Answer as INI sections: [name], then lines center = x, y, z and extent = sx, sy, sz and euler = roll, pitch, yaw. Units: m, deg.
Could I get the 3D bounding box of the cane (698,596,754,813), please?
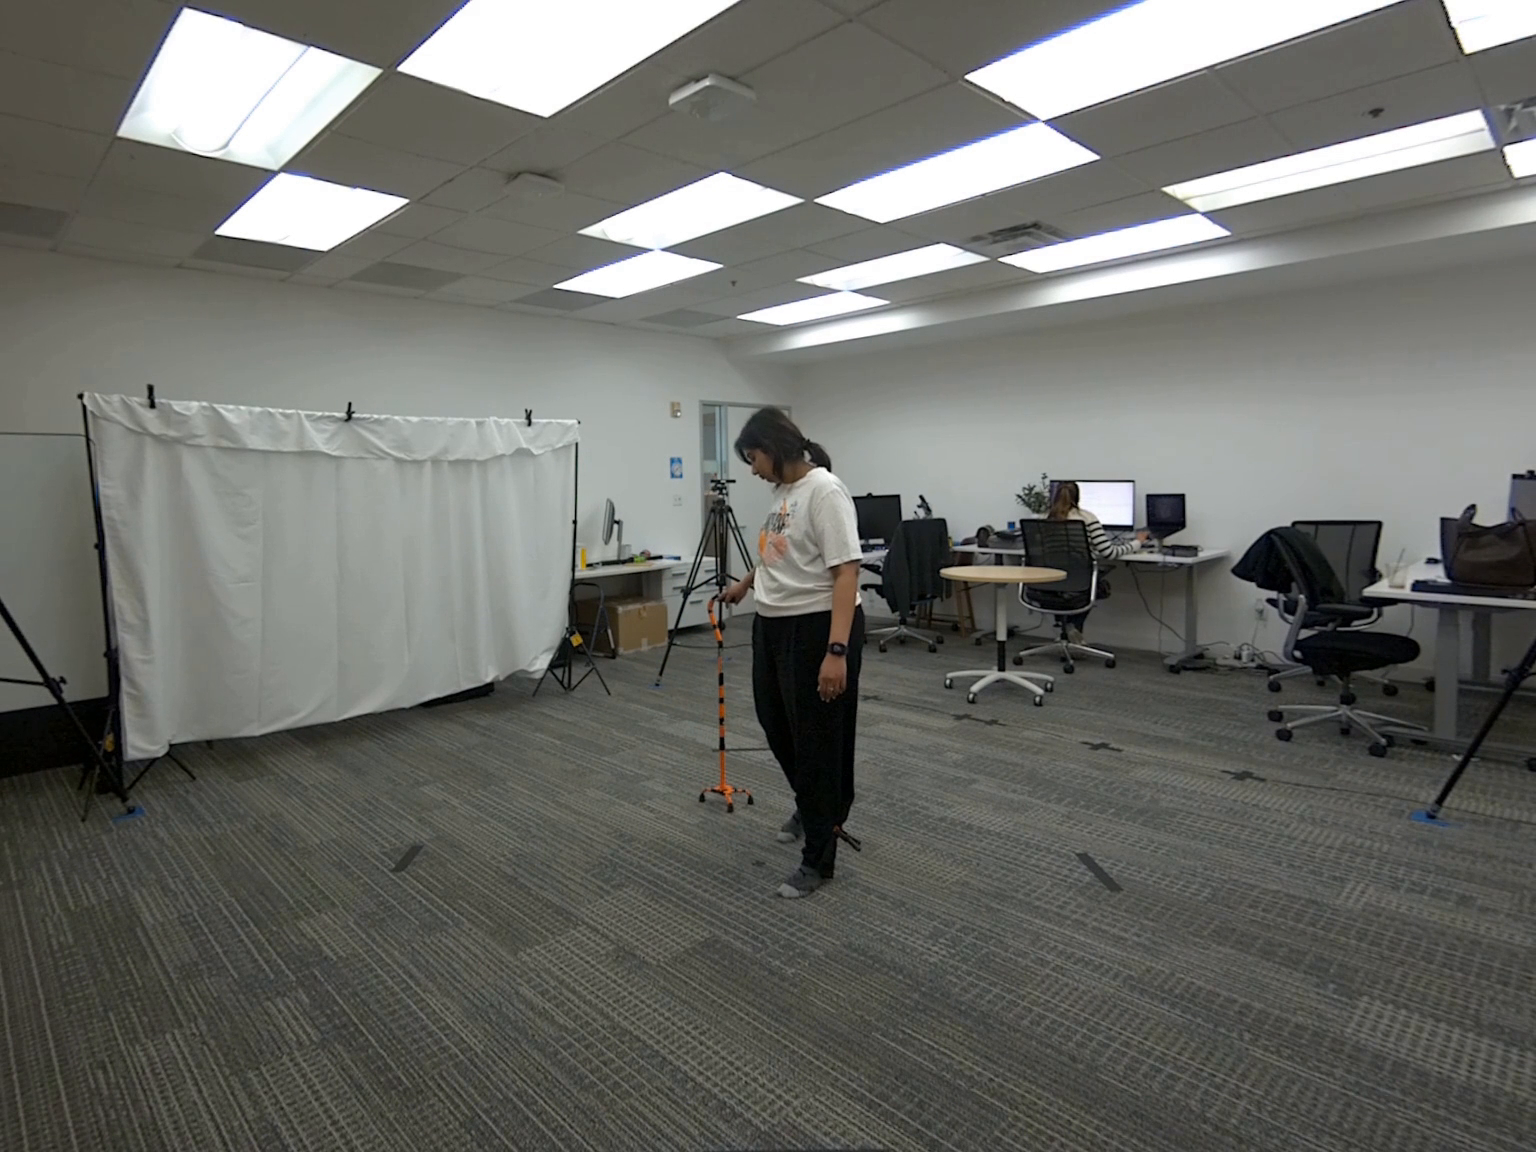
[cane]
center = -0.191, 0.531, 3.685
extent = 0.213, 0.905, 0.147
euler = 2, 4, 45
